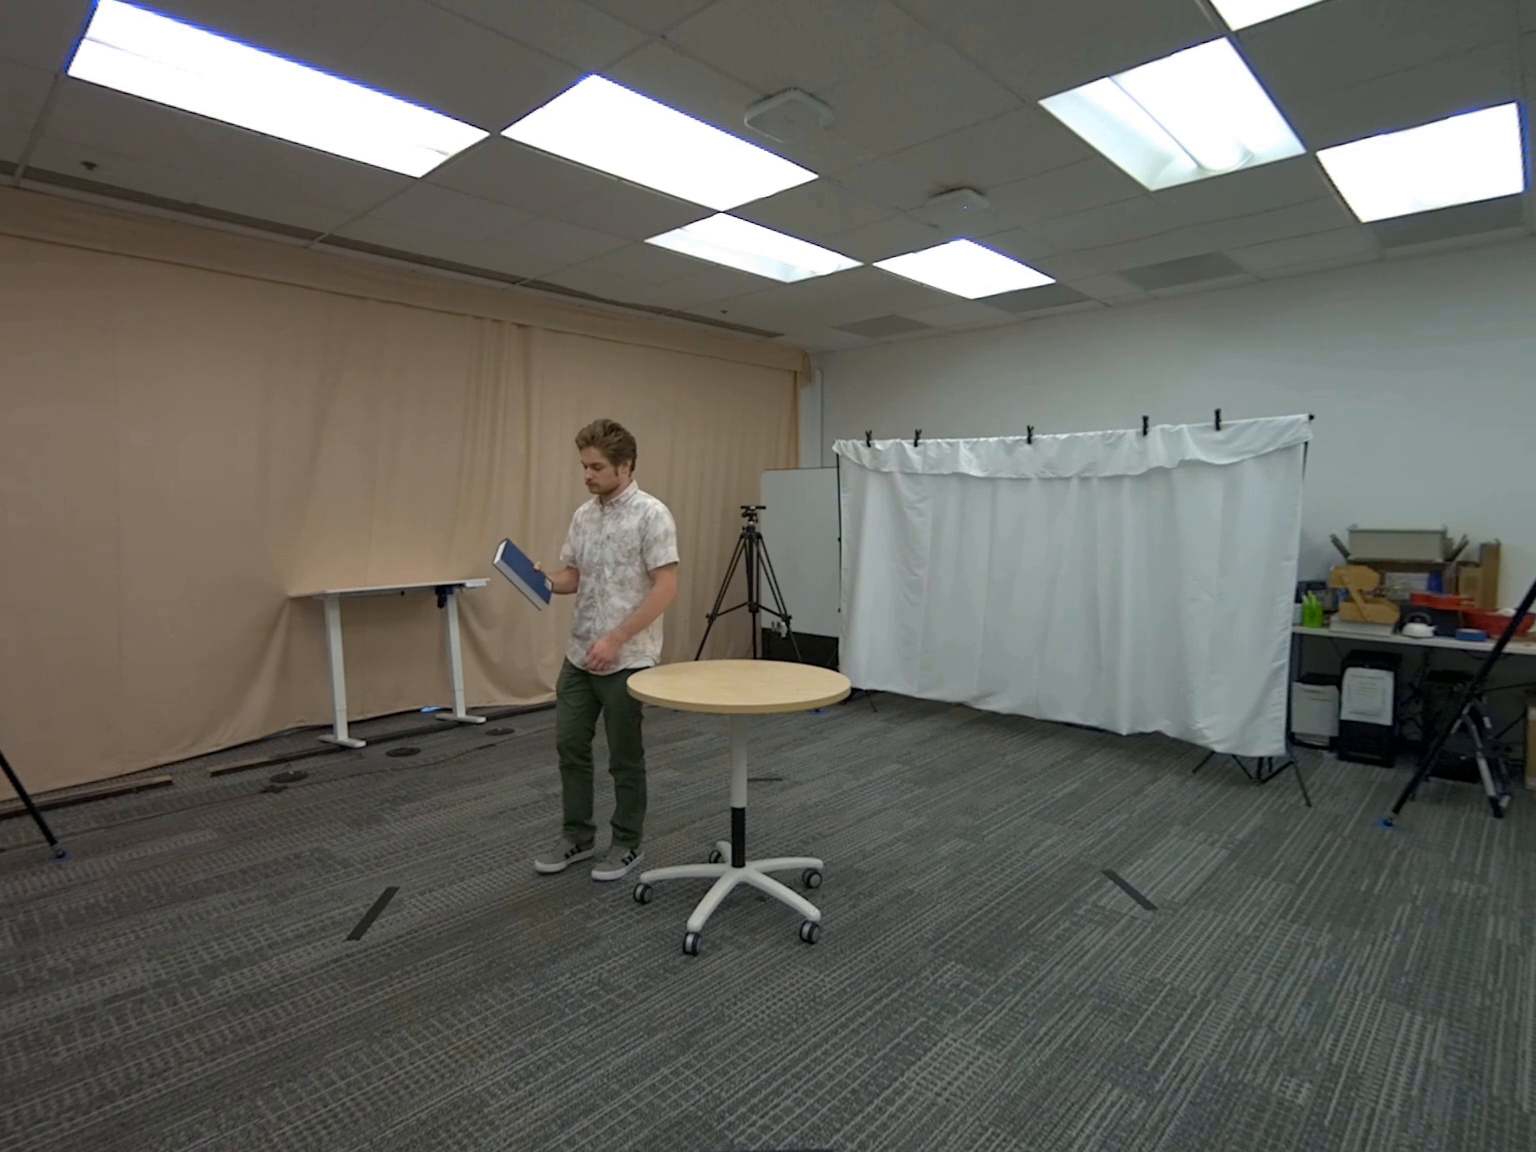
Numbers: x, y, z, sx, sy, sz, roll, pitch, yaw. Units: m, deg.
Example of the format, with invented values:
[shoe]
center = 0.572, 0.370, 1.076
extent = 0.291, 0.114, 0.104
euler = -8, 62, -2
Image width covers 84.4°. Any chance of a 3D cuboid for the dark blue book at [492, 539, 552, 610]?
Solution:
[dark blue book]
center = -0.866, -0.005, 3.005
extent = 0.045, 0.239, 0.167
euler = -36, 25, 9
